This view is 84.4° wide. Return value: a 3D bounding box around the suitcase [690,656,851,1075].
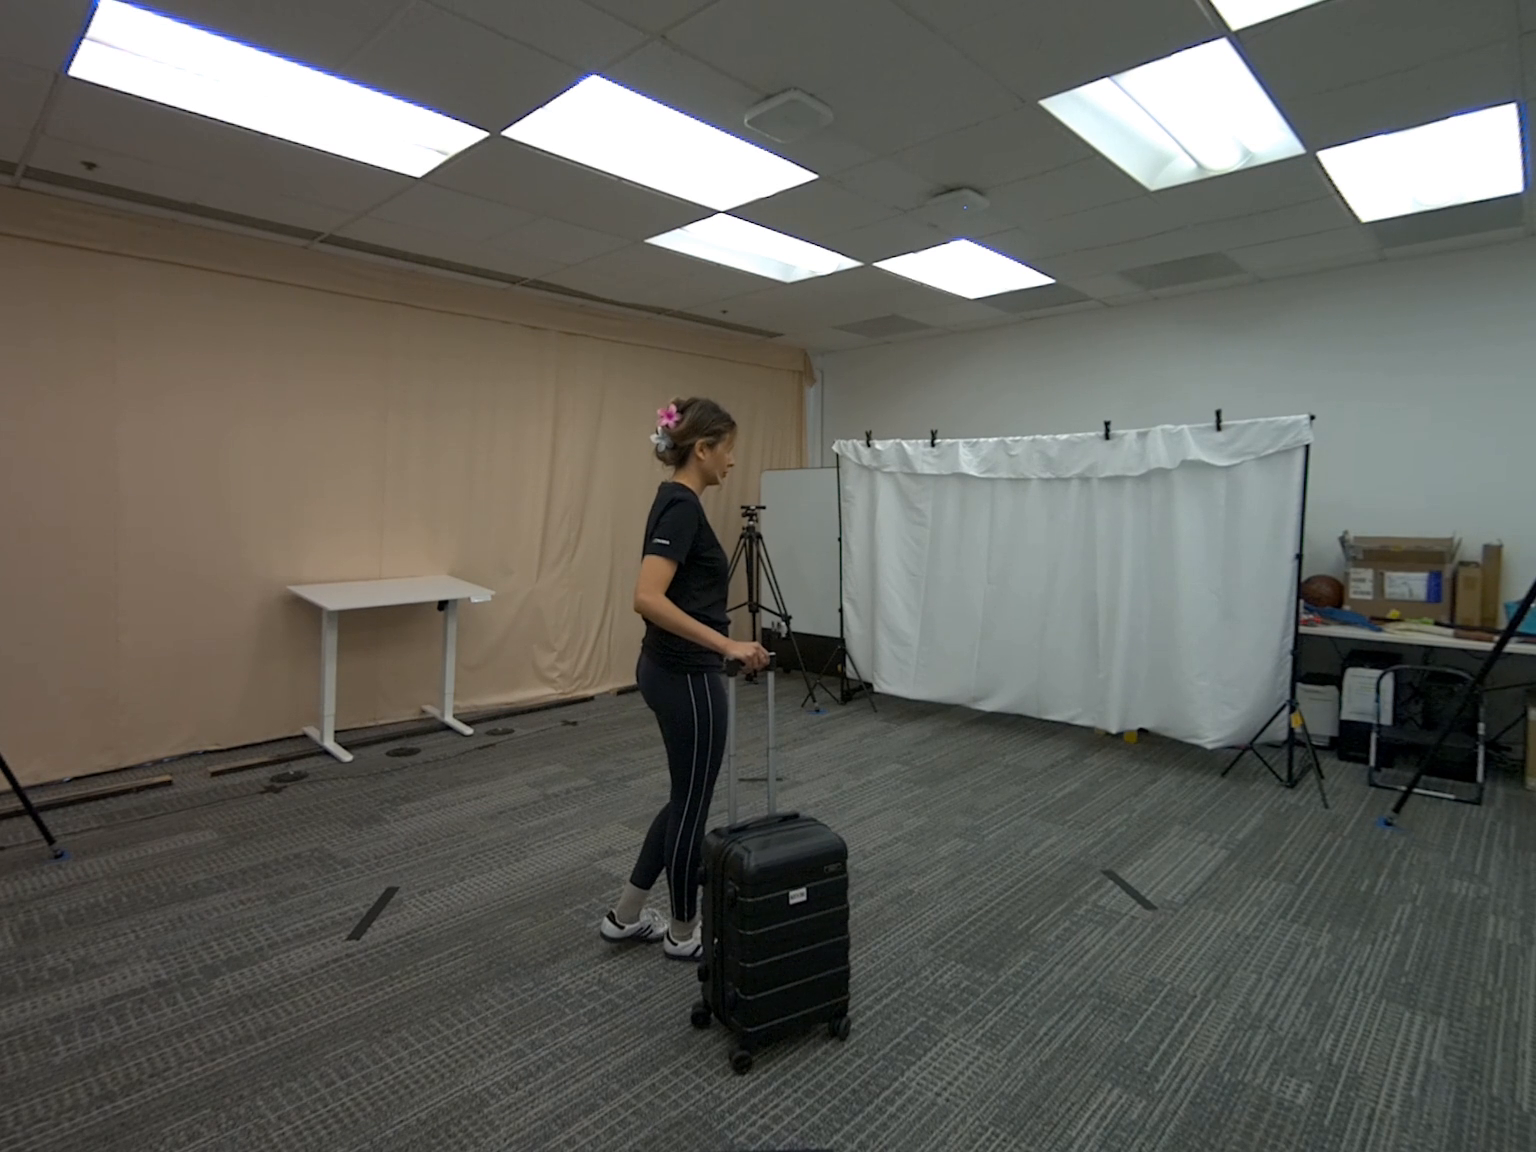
[{"bbox_3d":[0.029,0.729,2.214,0.374,0.976,0.264,-1,4,-29],"label":"suitcase"}]
